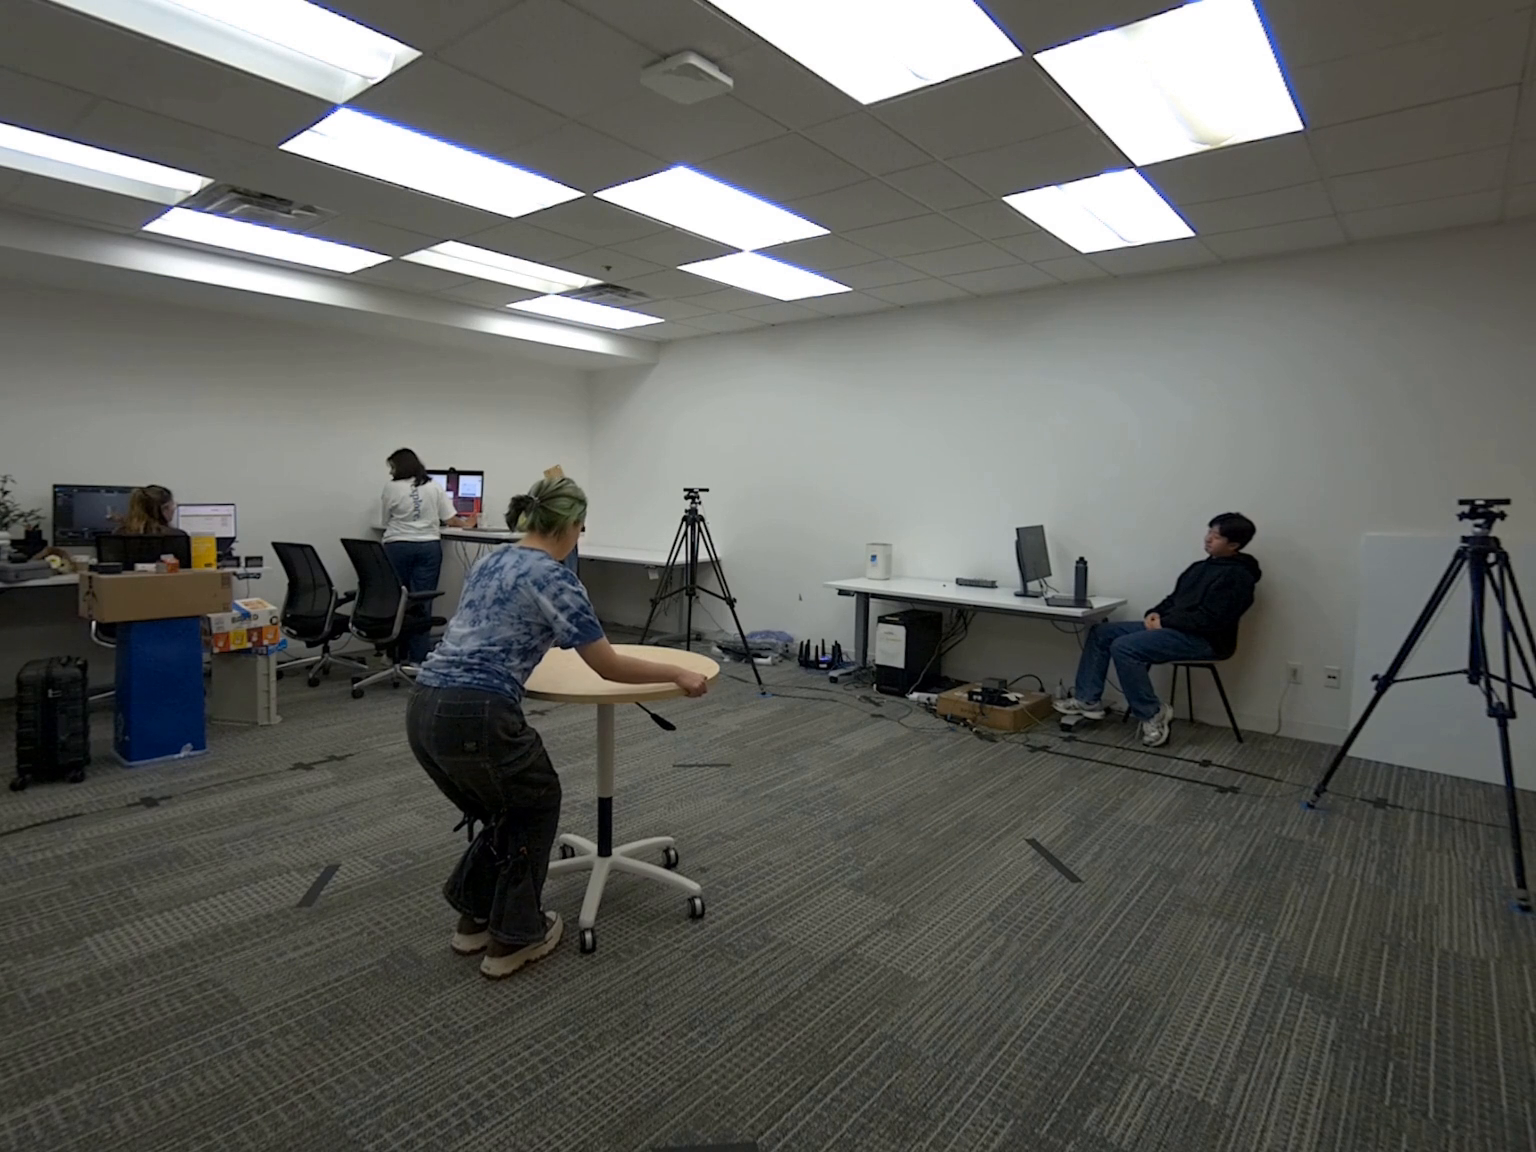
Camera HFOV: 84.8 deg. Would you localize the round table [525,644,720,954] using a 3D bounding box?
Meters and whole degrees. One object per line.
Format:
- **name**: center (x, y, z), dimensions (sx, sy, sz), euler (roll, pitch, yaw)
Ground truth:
- **round table**: center (-0.560, 0.696, 2.881), dimensions (0.763, 0.791, 0.768), euler (0, 4, -2)
